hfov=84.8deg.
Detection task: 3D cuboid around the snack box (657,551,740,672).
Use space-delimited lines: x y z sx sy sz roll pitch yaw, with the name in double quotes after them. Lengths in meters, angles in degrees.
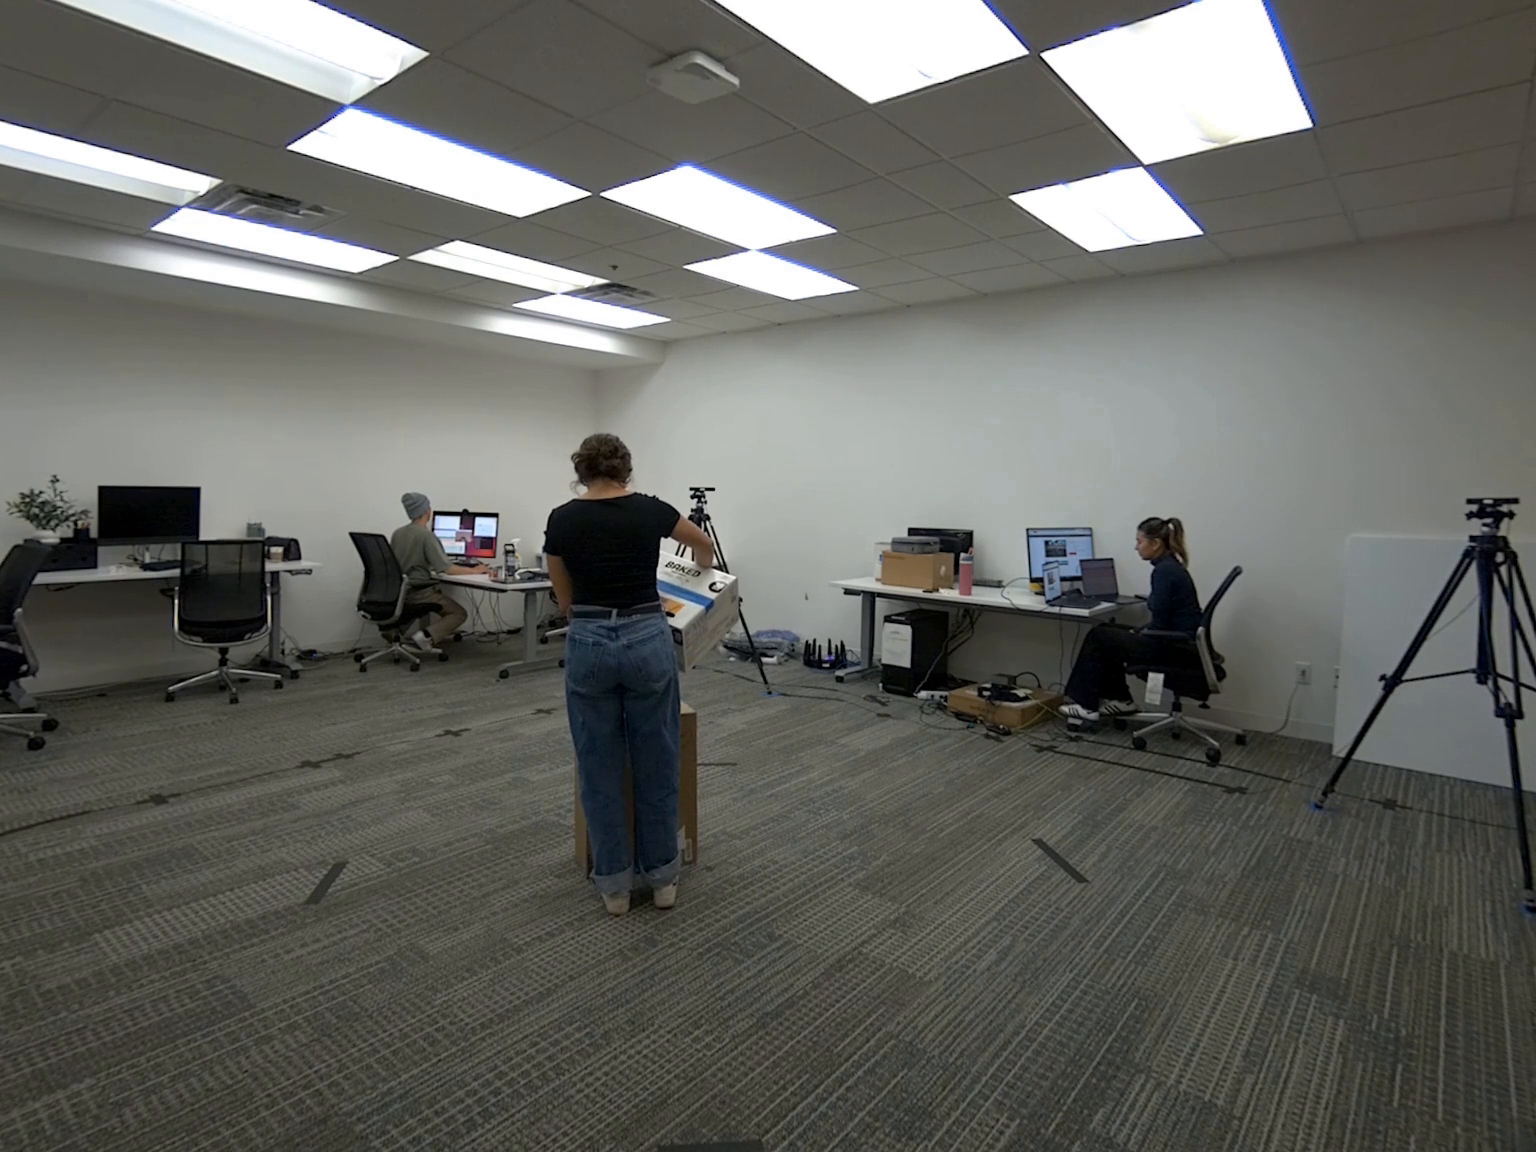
-0.376 0.112 3.057 0.419 0.200 0.339 18 40 27 "snack box"
